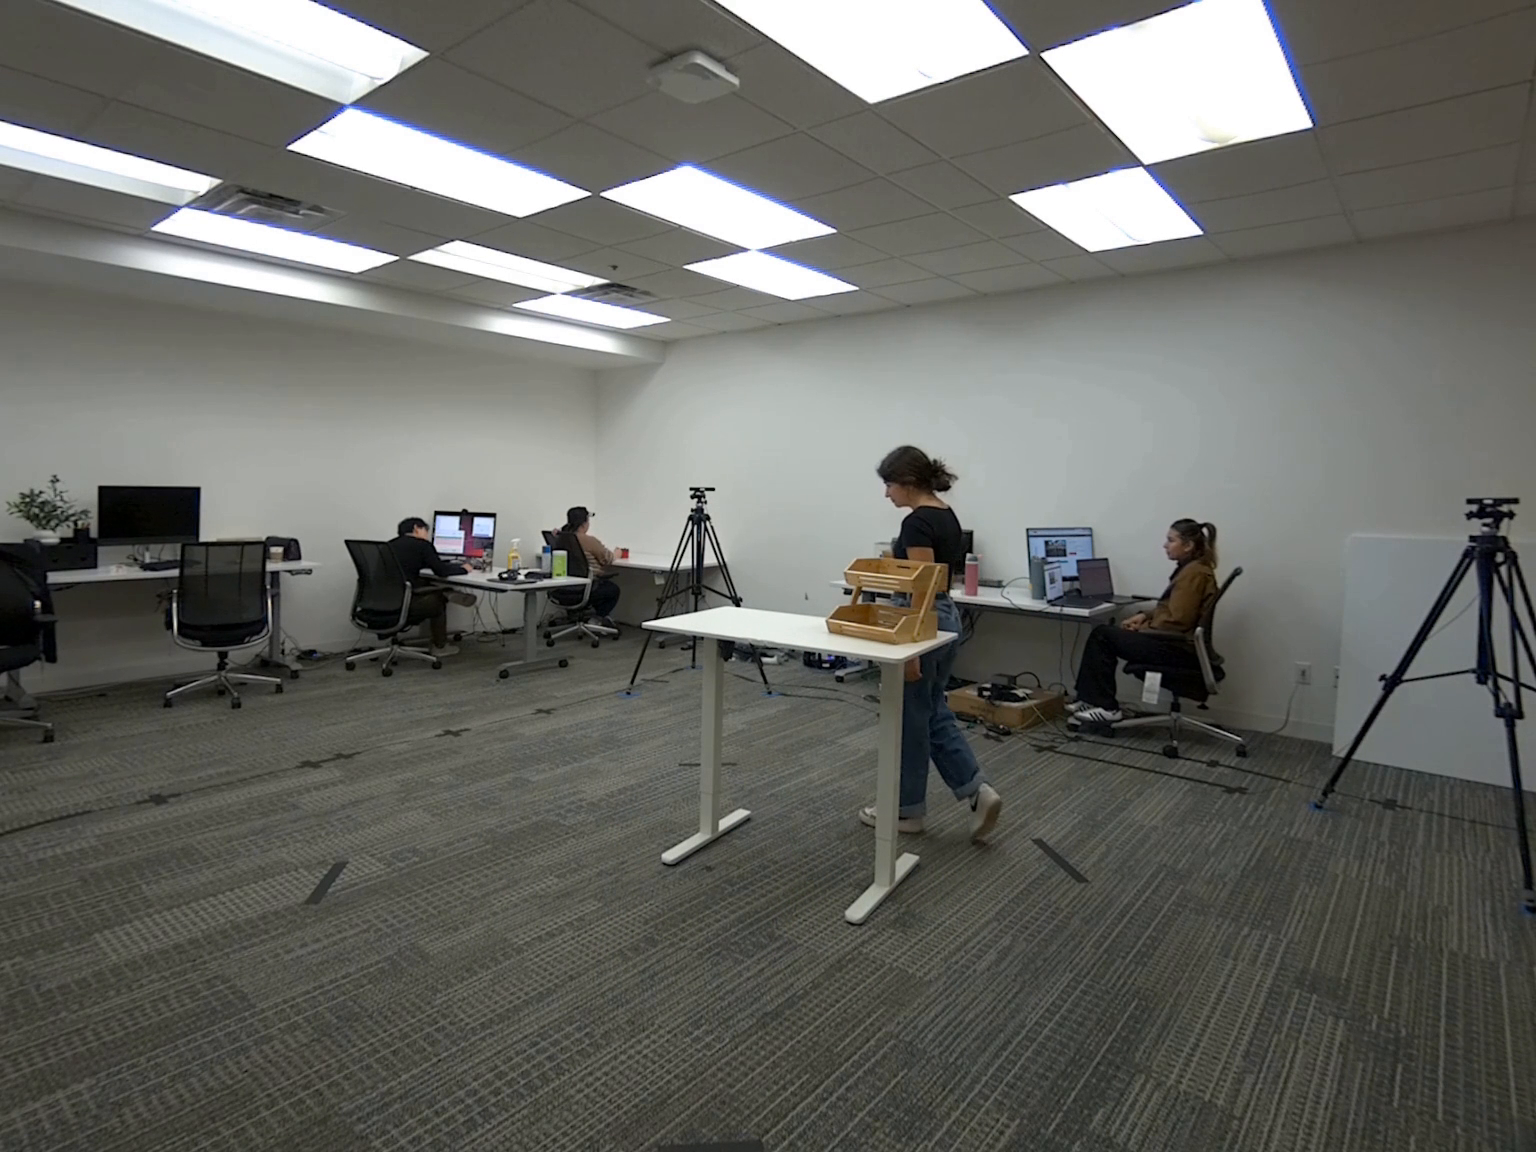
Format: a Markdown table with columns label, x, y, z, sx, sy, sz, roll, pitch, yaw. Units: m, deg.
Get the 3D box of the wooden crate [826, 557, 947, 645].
| label | x | y | z | sx | sy | sz | roll | pitch | yaw |
| --- | --- | --- | --- | --- | --- | --- | --- | --- | --- |
| wooden crate | 0.411 | 0.075 | 3.026 | 0.293 | 0.272 | 0.336 | -2 | 6 | -44 |
